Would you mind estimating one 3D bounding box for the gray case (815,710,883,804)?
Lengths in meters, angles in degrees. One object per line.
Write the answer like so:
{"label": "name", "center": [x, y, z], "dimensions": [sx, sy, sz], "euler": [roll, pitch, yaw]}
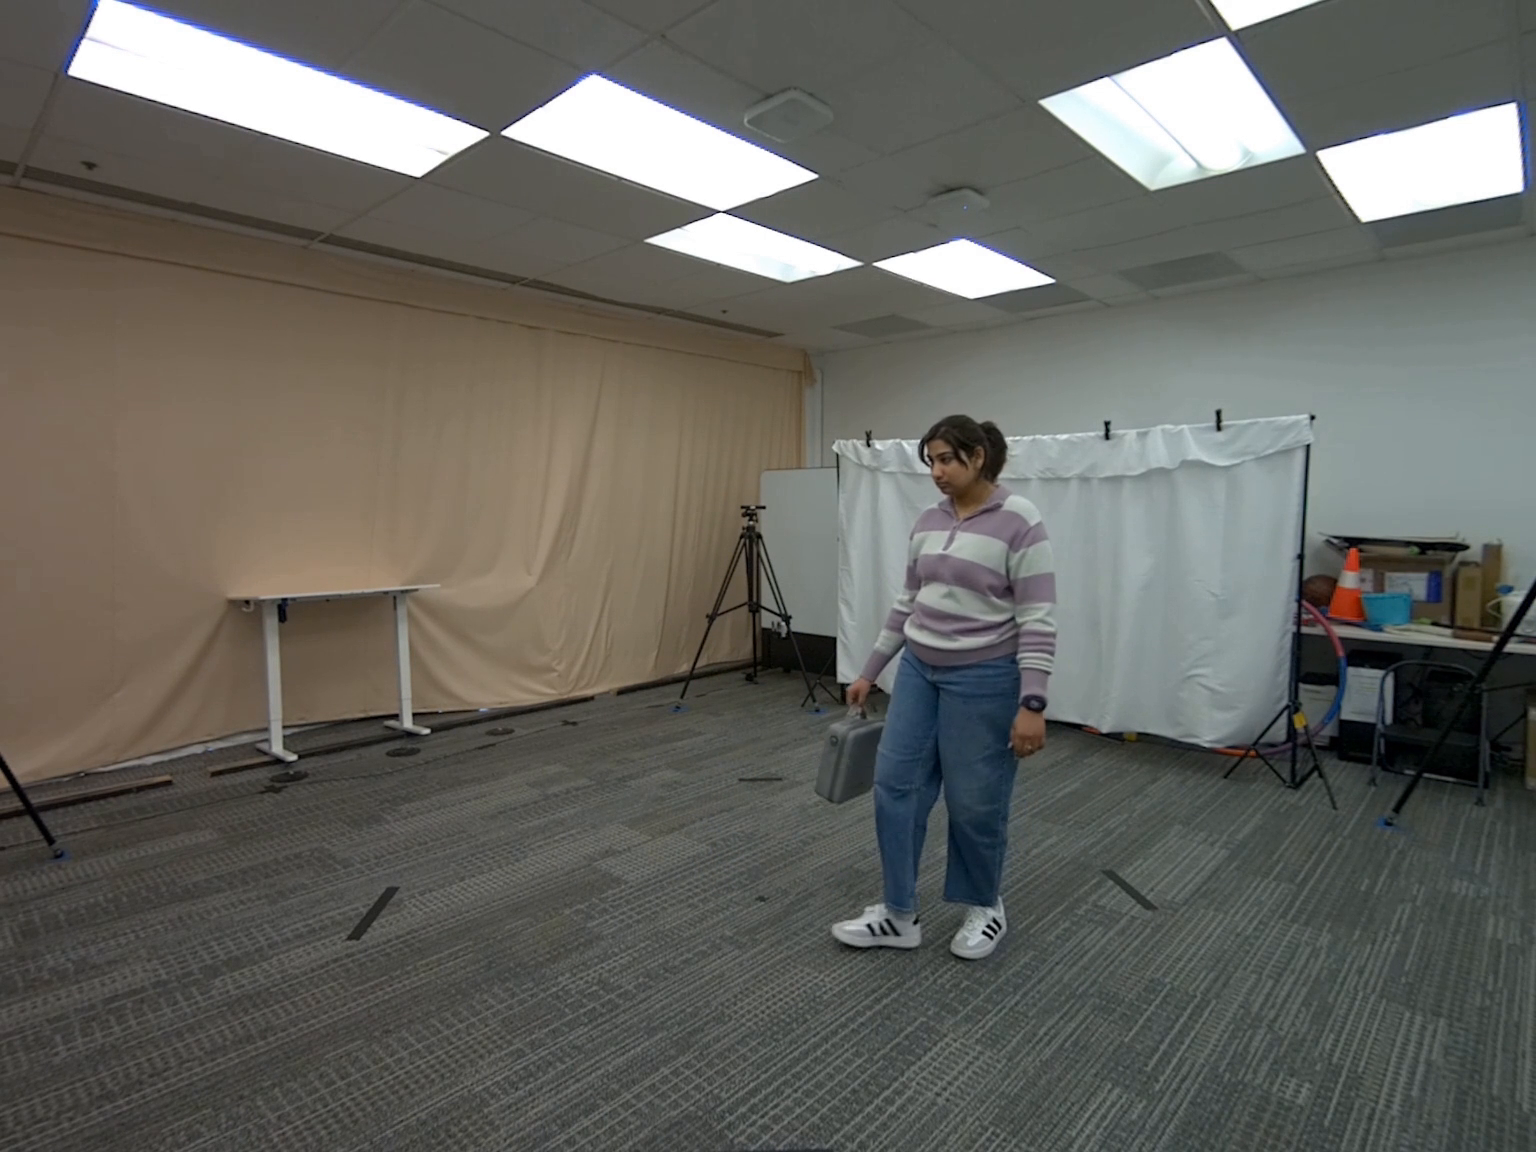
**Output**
{"label": "gray case", "center": [0.286, 0.607, 2.800], "dimensions": [0.108, 0.260, 0.249], "euler": [13, 7, 36]}
